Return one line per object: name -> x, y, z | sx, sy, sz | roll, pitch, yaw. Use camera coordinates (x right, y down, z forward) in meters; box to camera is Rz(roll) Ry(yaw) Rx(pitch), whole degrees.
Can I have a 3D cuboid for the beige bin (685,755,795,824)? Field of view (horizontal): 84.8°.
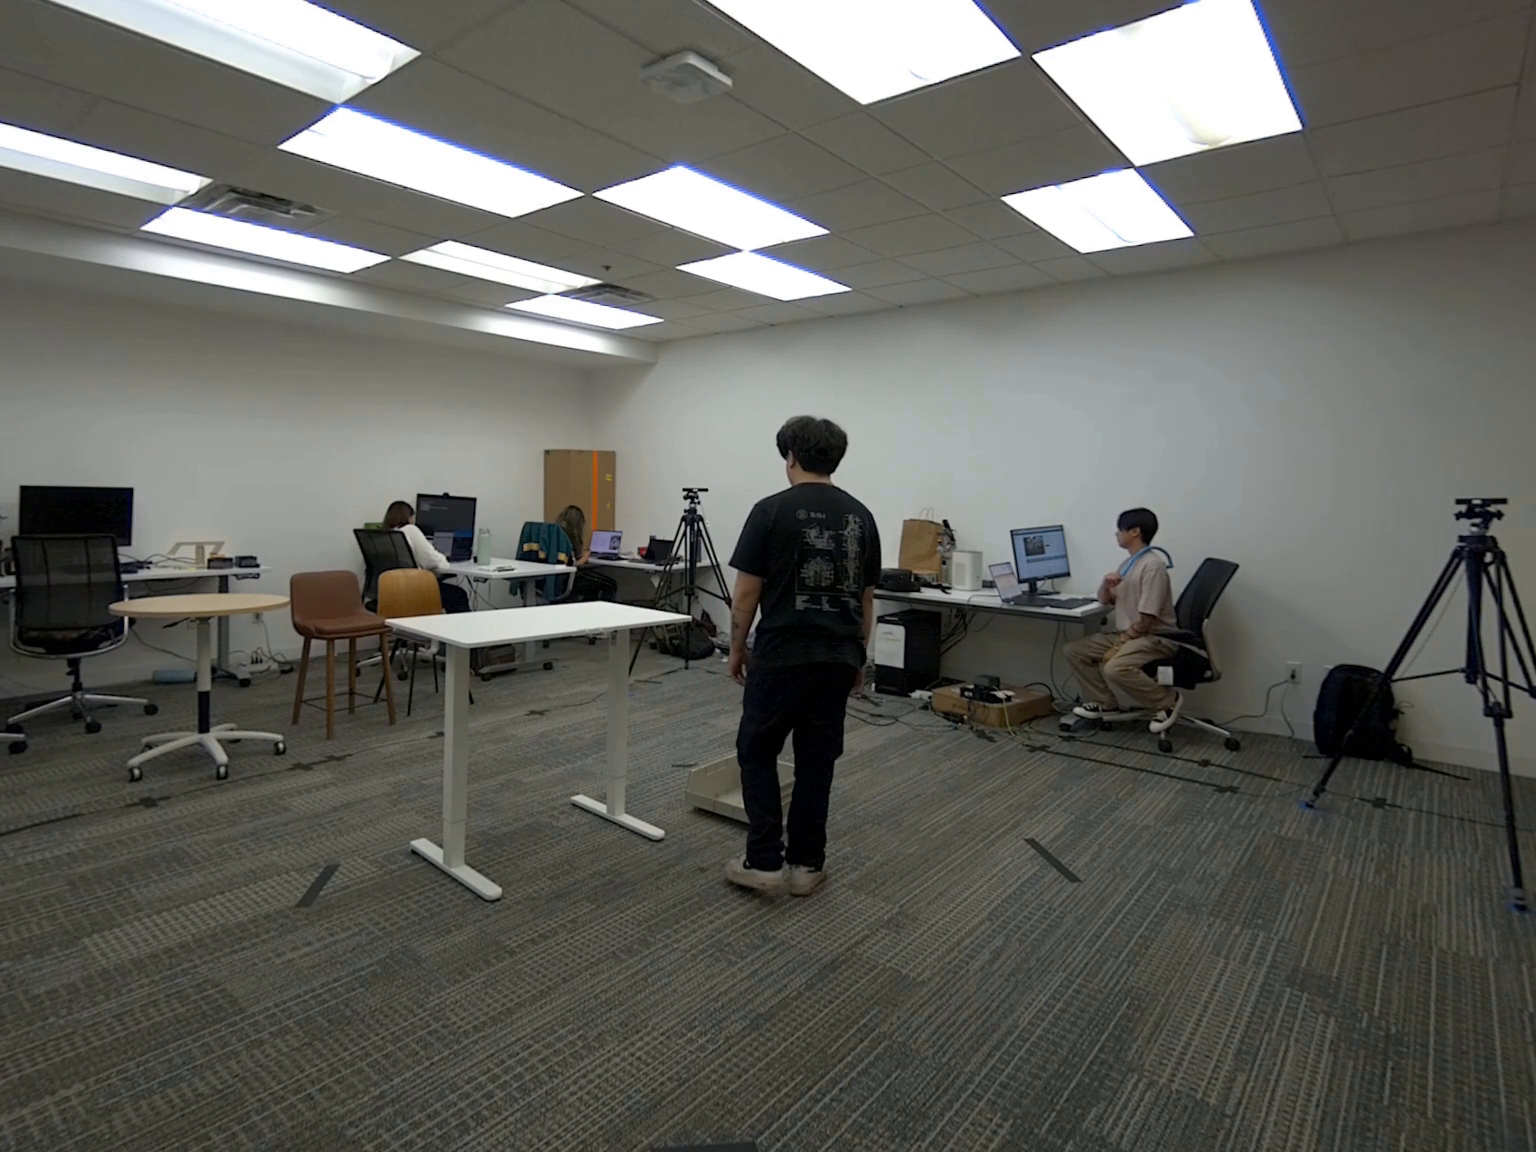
beige bin -> -0.091, 0.927, 3.687 | 0.436, 0.188, 0.366 | 4, 5, 36
